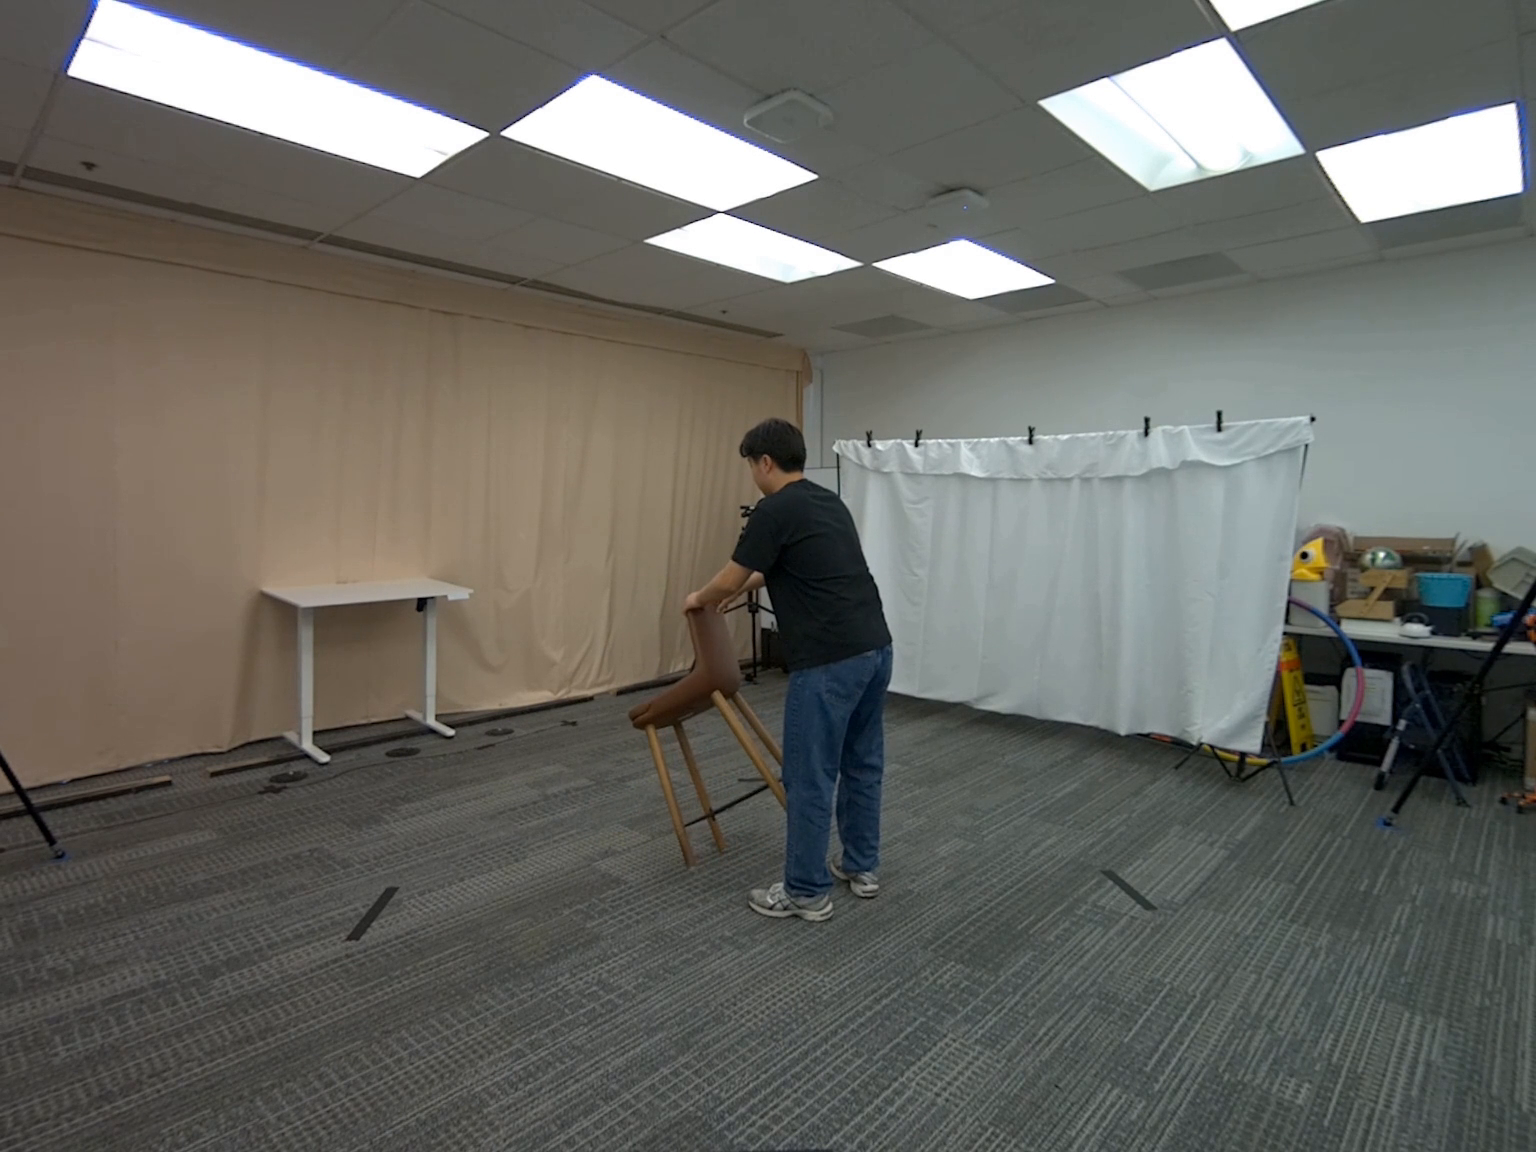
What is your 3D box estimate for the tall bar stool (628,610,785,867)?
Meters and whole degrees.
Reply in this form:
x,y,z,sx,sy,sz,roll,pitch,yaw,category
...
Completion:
x,y,z,sx,sy,sz,roll,pitch,yaw,category
-0.241,0.600,3.308,0.471,0.905,0.446,-29,-16,10,tall bar stool
